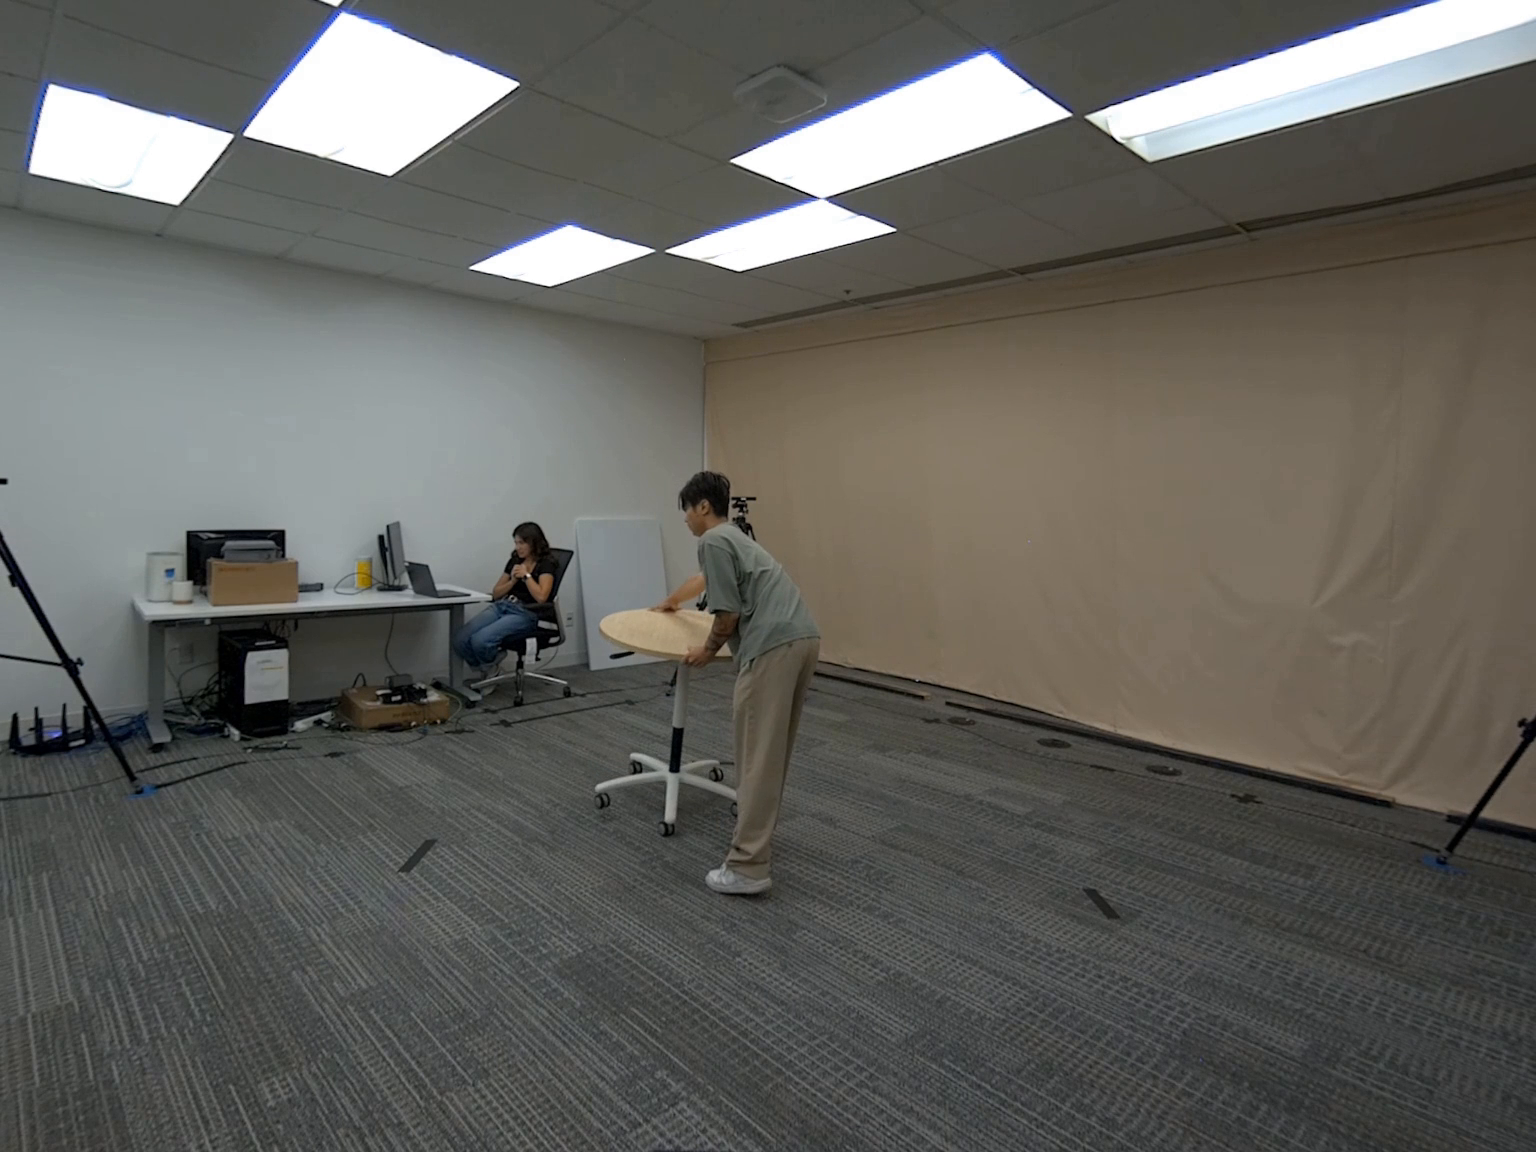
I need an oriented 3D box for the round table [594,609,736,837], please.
[{"bbox_3d":[-0.394,0.622,3.743,0.784,0.782,0.791,6,9,-2],"label":"round table"}]
